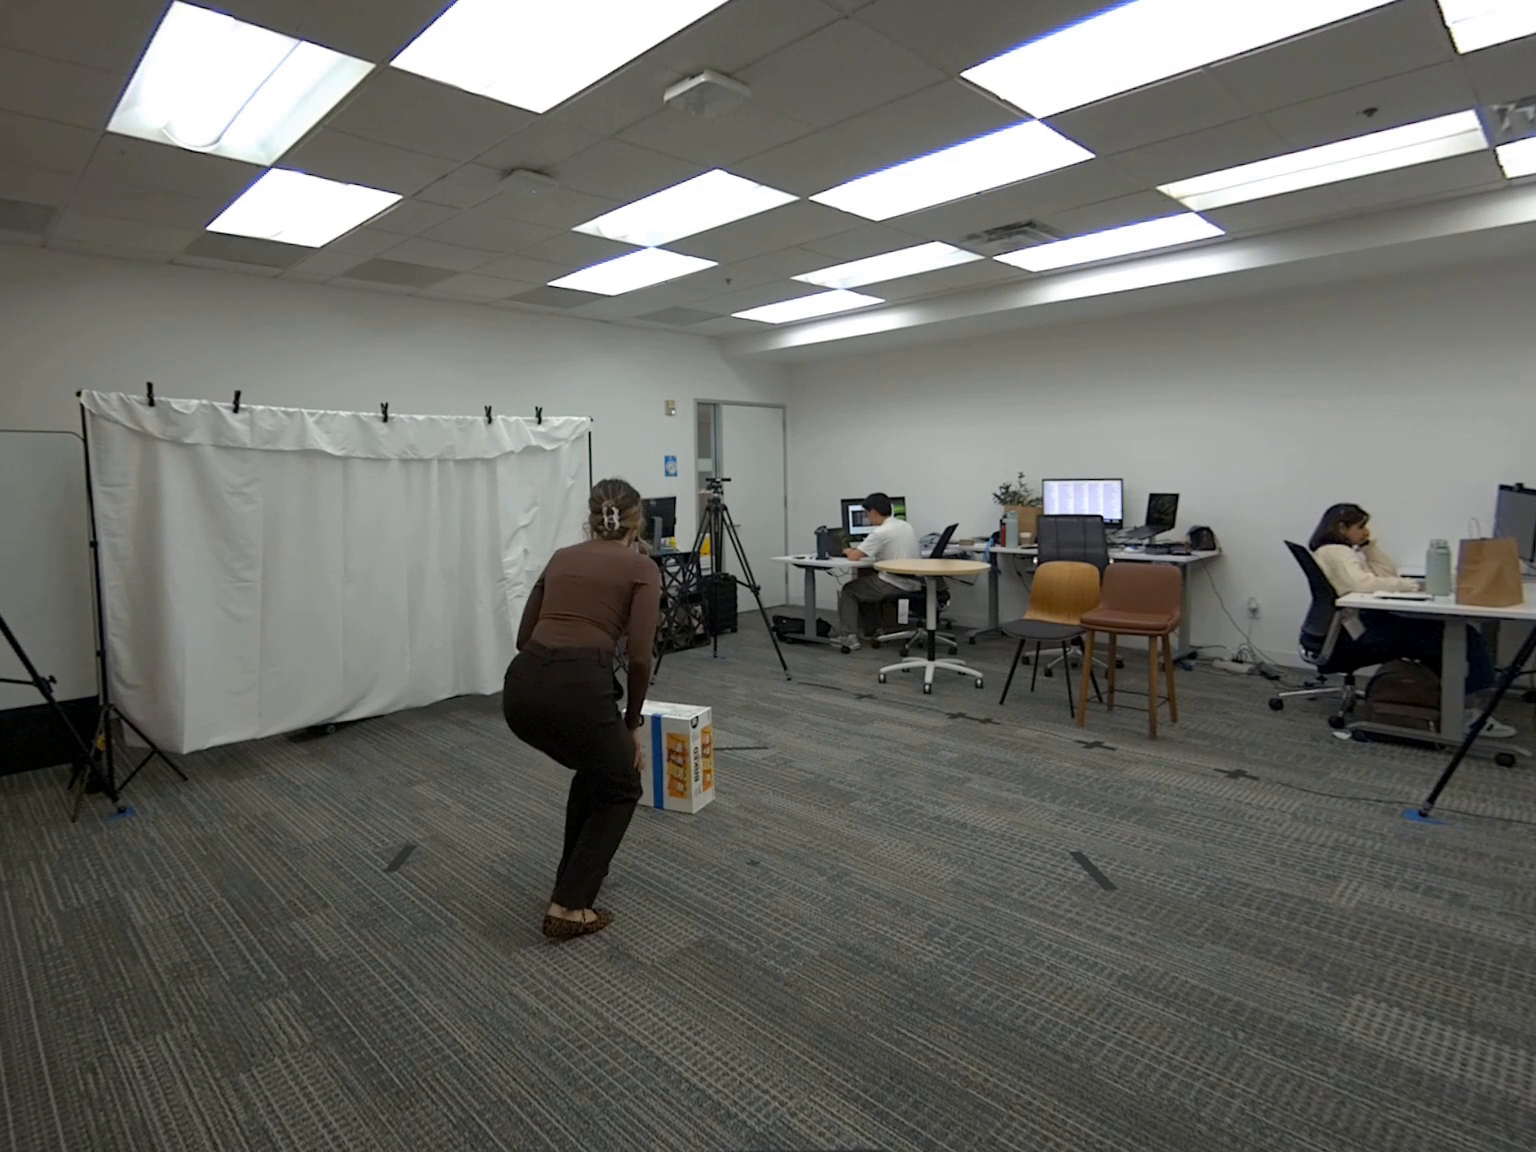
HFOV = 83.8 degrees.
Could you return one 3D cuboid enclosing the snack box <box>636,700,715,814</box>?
[{"bbox_3d":[-0.432,0.774,3.715,0.348,0.404,0.201,1,4,26],"label":"snack box"}]
